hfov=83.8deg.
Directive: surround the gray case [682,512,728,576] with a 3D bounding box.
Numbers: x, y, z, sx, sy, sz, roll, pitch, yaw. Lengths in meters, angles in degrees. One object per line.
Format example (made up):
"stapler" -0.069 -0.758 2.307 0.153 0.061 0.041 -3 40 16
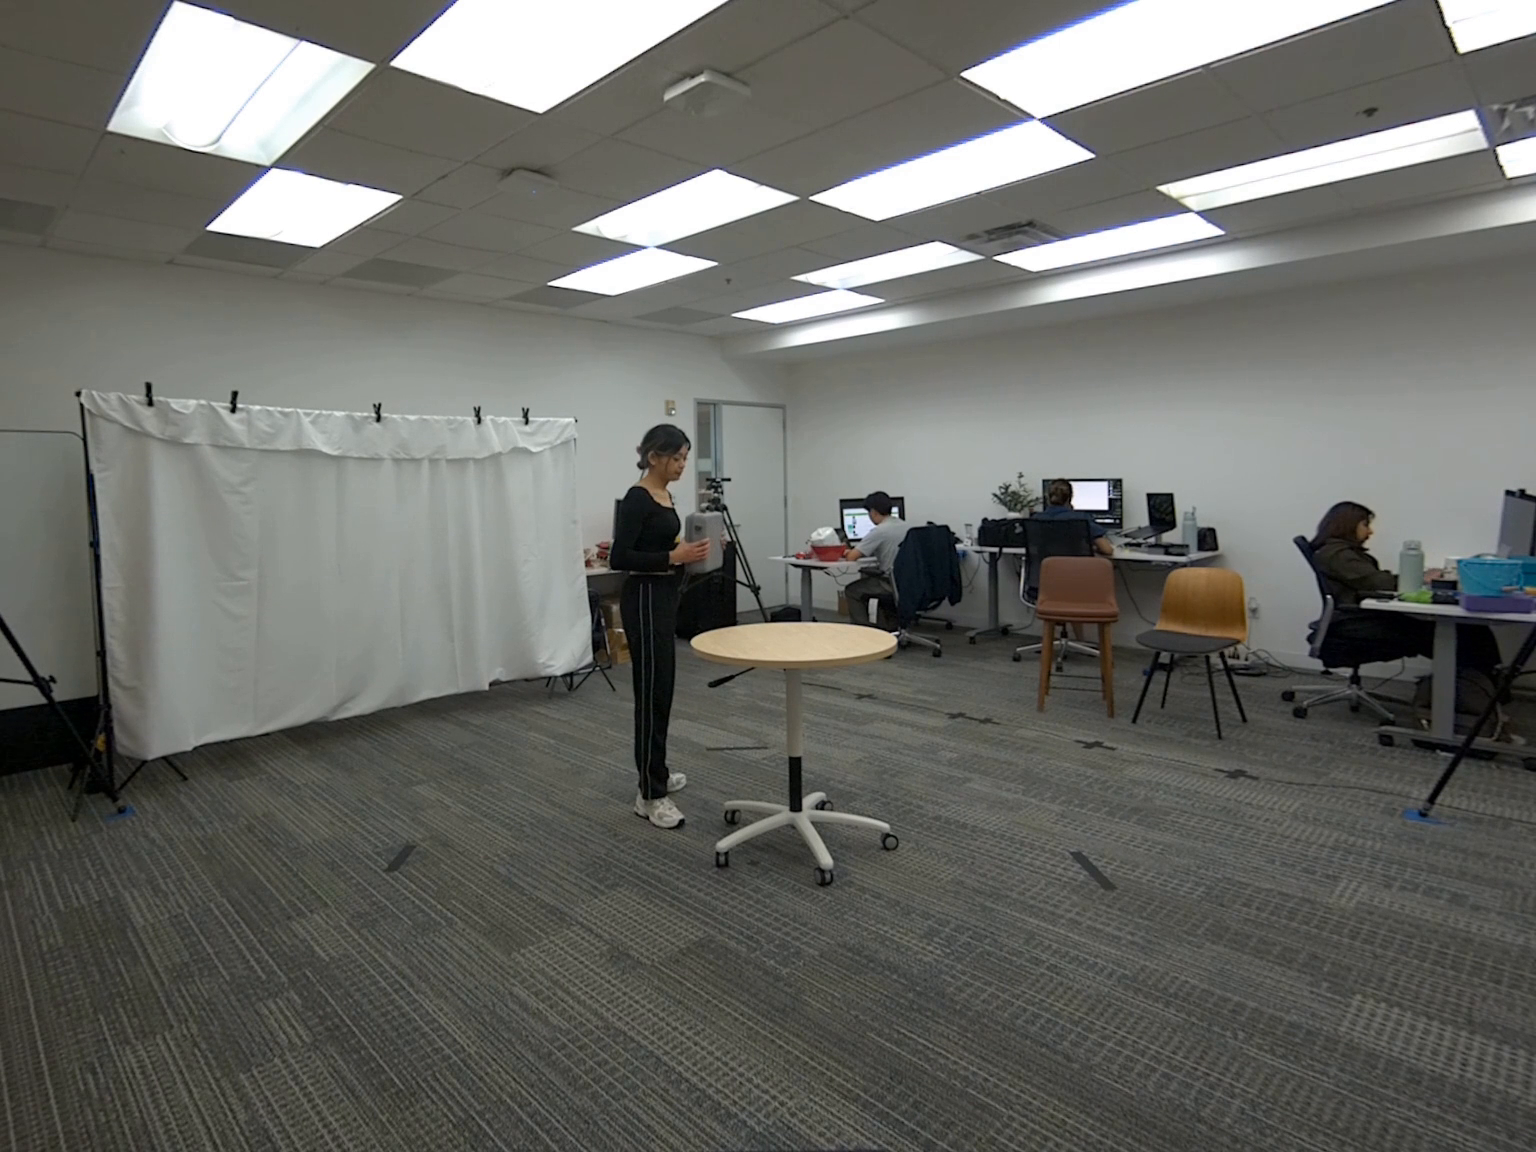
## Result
"gray case" -0.274 -0.152 3.663 0.106 0.259 0.254 5 7 13
